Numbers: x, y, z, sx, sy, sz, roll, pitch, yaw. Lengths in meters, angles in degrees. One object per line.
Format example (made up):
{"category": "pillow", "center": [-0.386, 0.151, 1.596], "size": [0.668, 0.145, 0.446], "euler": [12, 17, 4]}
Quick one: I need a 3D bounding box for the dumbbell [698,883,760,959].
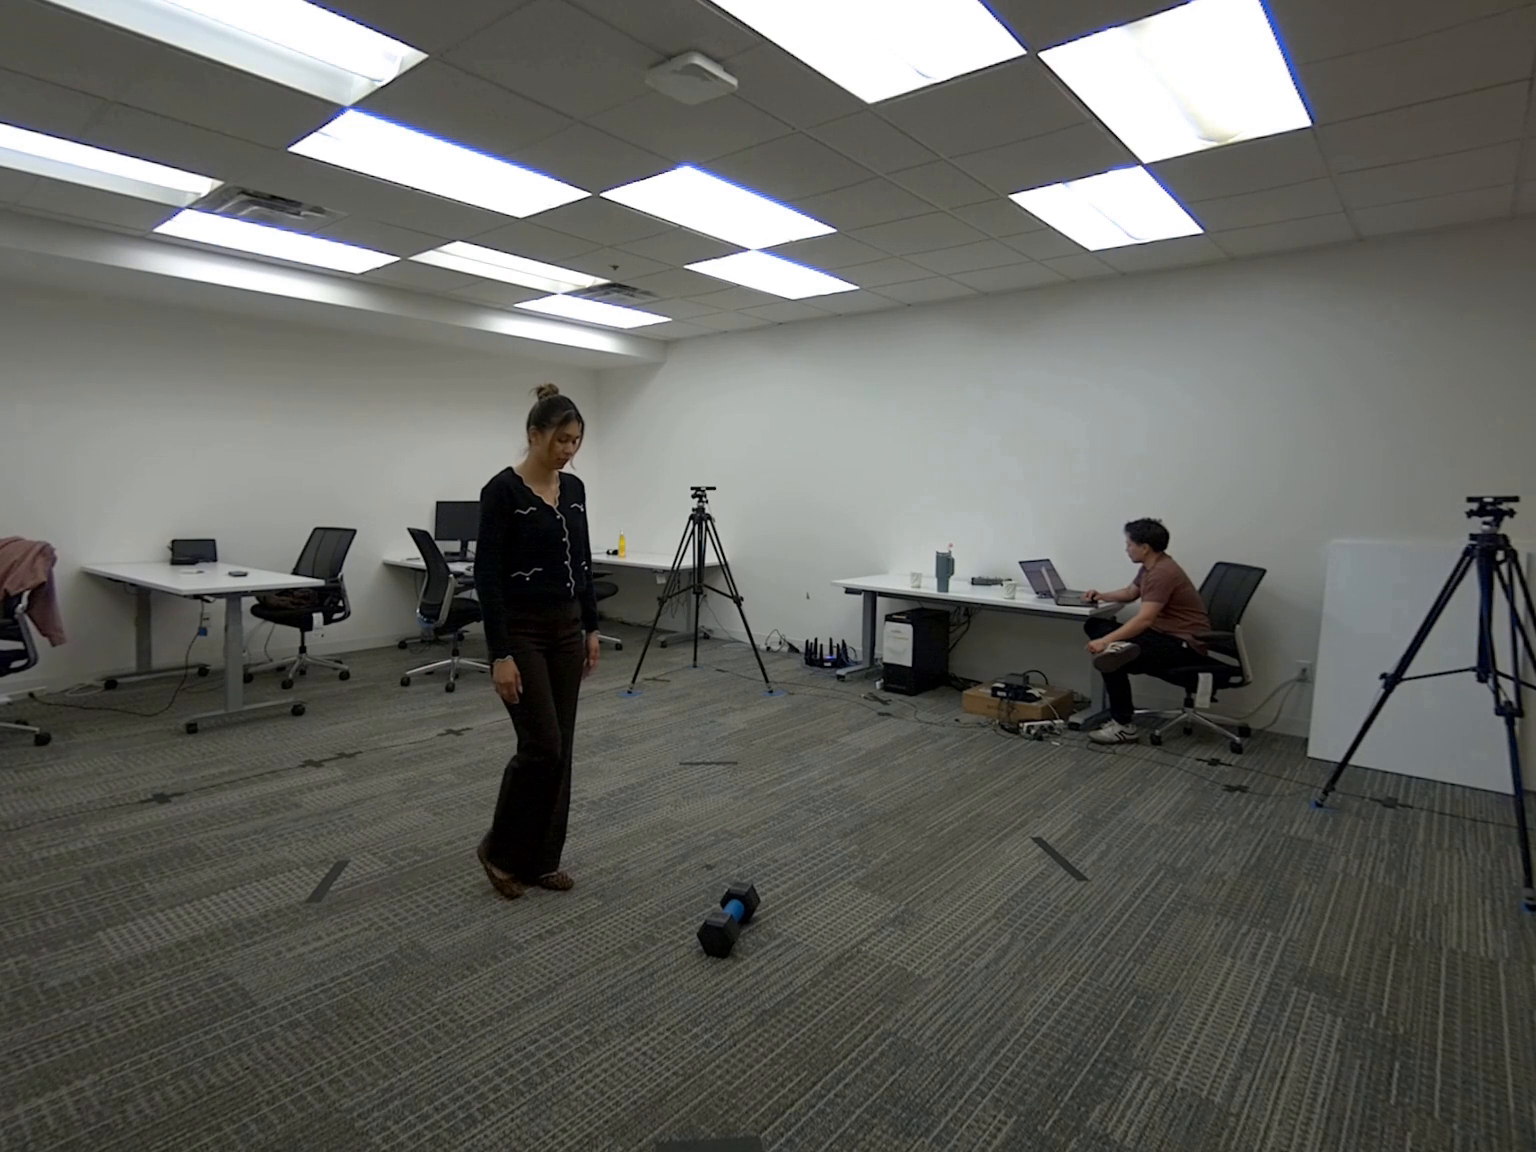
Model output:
{"category": "dumbbell", "center": [-0.125, 1.056, 2.642], "size": [0.125, 0.108, 0.289], "euler": [0, 5, 17]}
